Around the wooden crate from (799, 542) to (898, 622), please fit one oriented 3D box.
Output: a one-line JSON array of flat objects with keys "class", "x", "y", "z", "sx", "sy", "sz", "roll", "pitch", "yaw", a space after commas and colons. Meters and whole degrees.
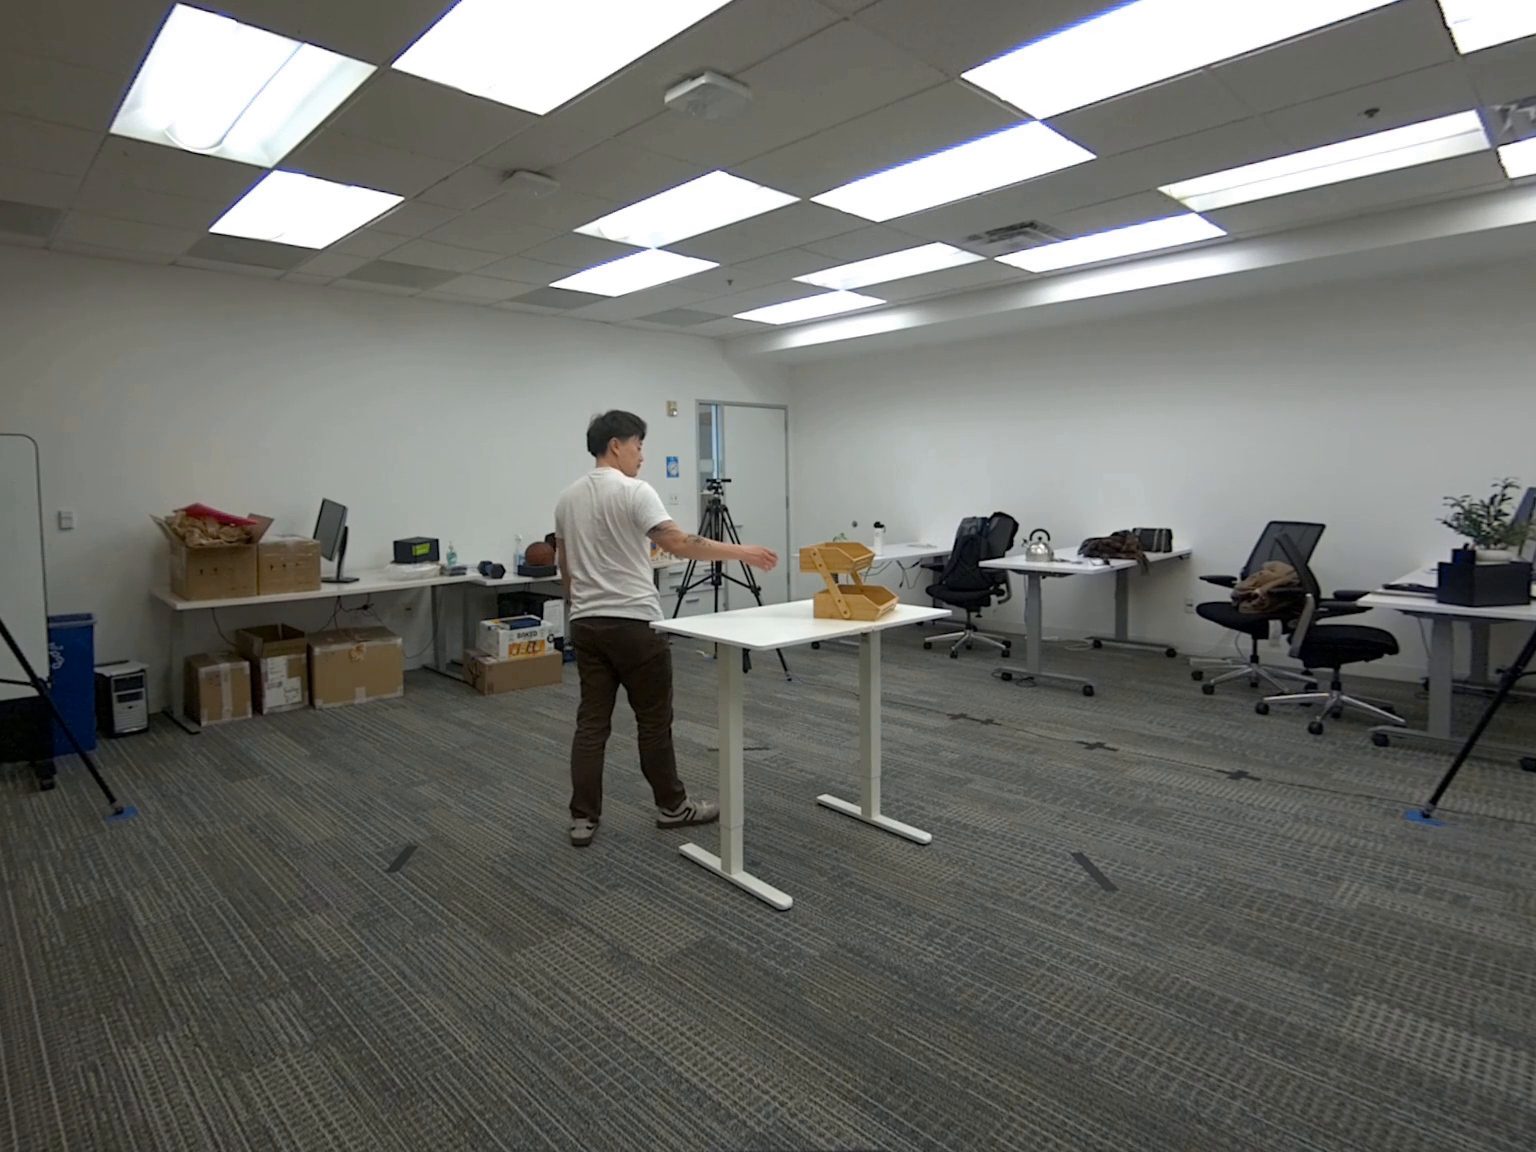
[{"class": "wooden crate", "x": 0.312, "y": 0.010, "z": 3.231, "sx": 0.308, "sy": 0.272, "sz": 0.319, "roll": 1, "pitch": 5, "yaw": 23}]
